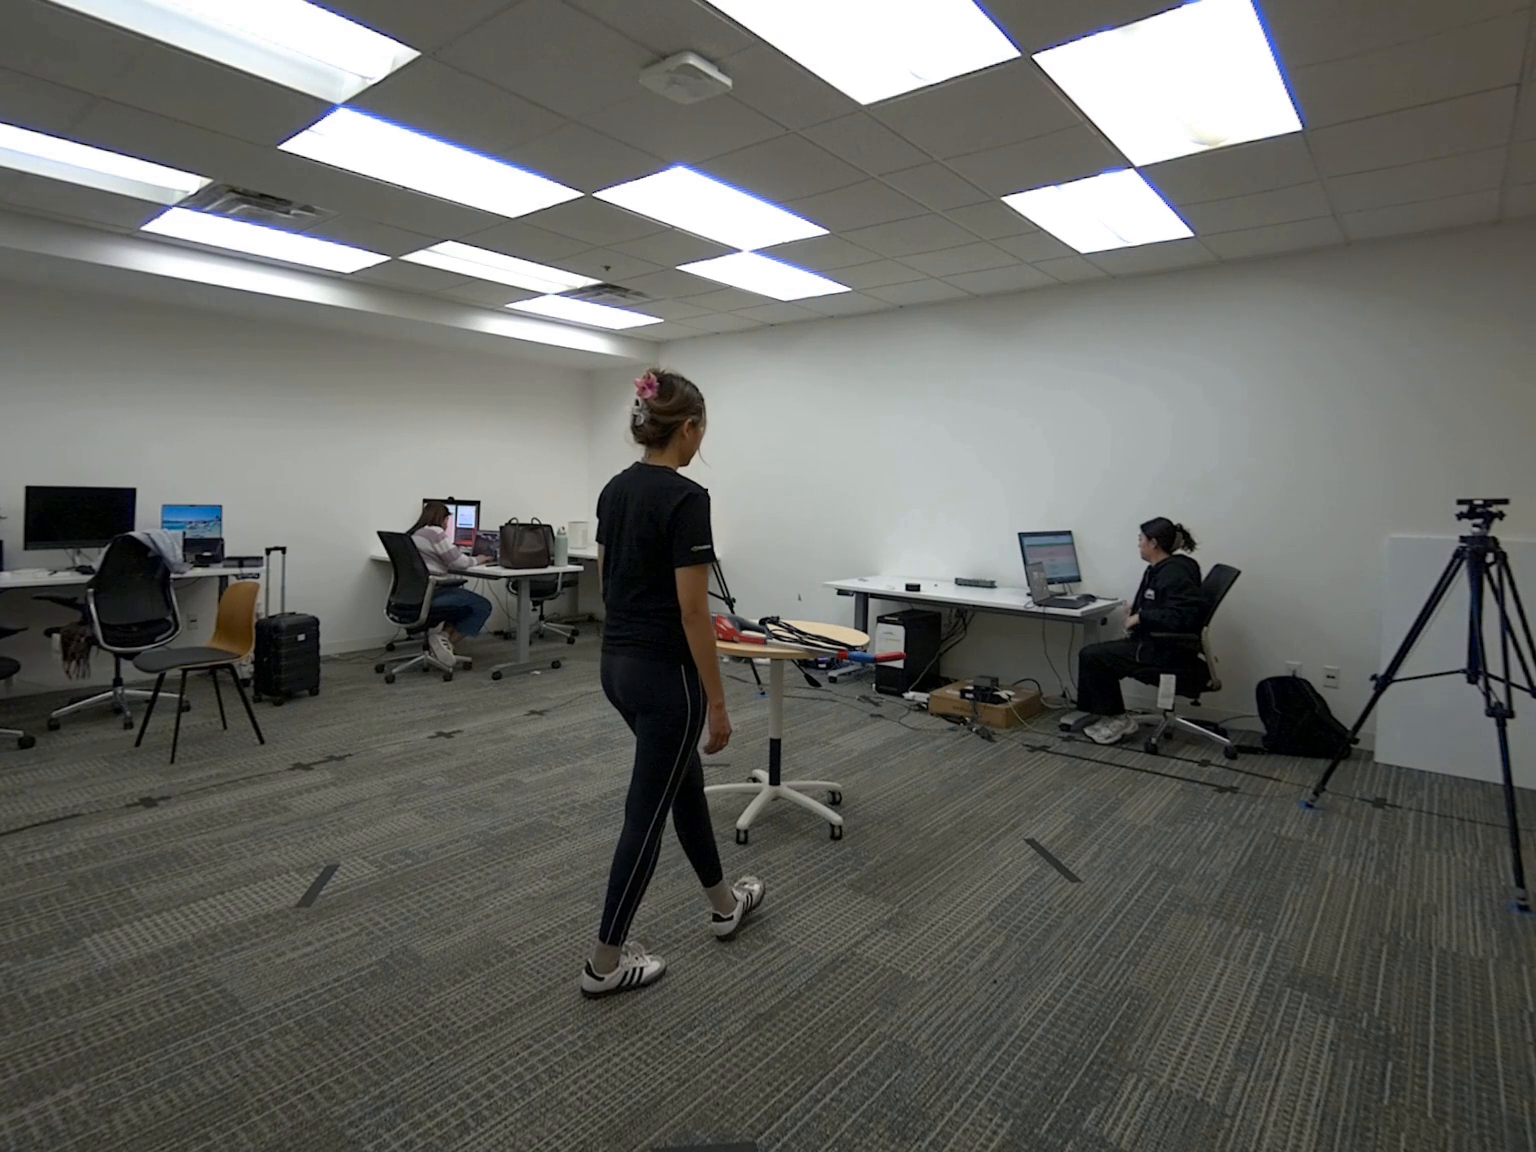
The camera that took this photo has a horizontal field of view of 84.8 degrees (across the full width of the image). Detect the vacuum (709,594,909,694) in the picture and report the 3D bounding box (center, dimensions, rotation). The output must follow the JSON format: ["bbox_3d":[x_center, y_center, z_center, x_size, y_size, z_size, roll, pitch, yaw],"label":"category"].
[{"bbox_3d":[0.006,0.240,3.334,1.080,0.245,0.144,6,36,29],"label":"vacuum"}]
